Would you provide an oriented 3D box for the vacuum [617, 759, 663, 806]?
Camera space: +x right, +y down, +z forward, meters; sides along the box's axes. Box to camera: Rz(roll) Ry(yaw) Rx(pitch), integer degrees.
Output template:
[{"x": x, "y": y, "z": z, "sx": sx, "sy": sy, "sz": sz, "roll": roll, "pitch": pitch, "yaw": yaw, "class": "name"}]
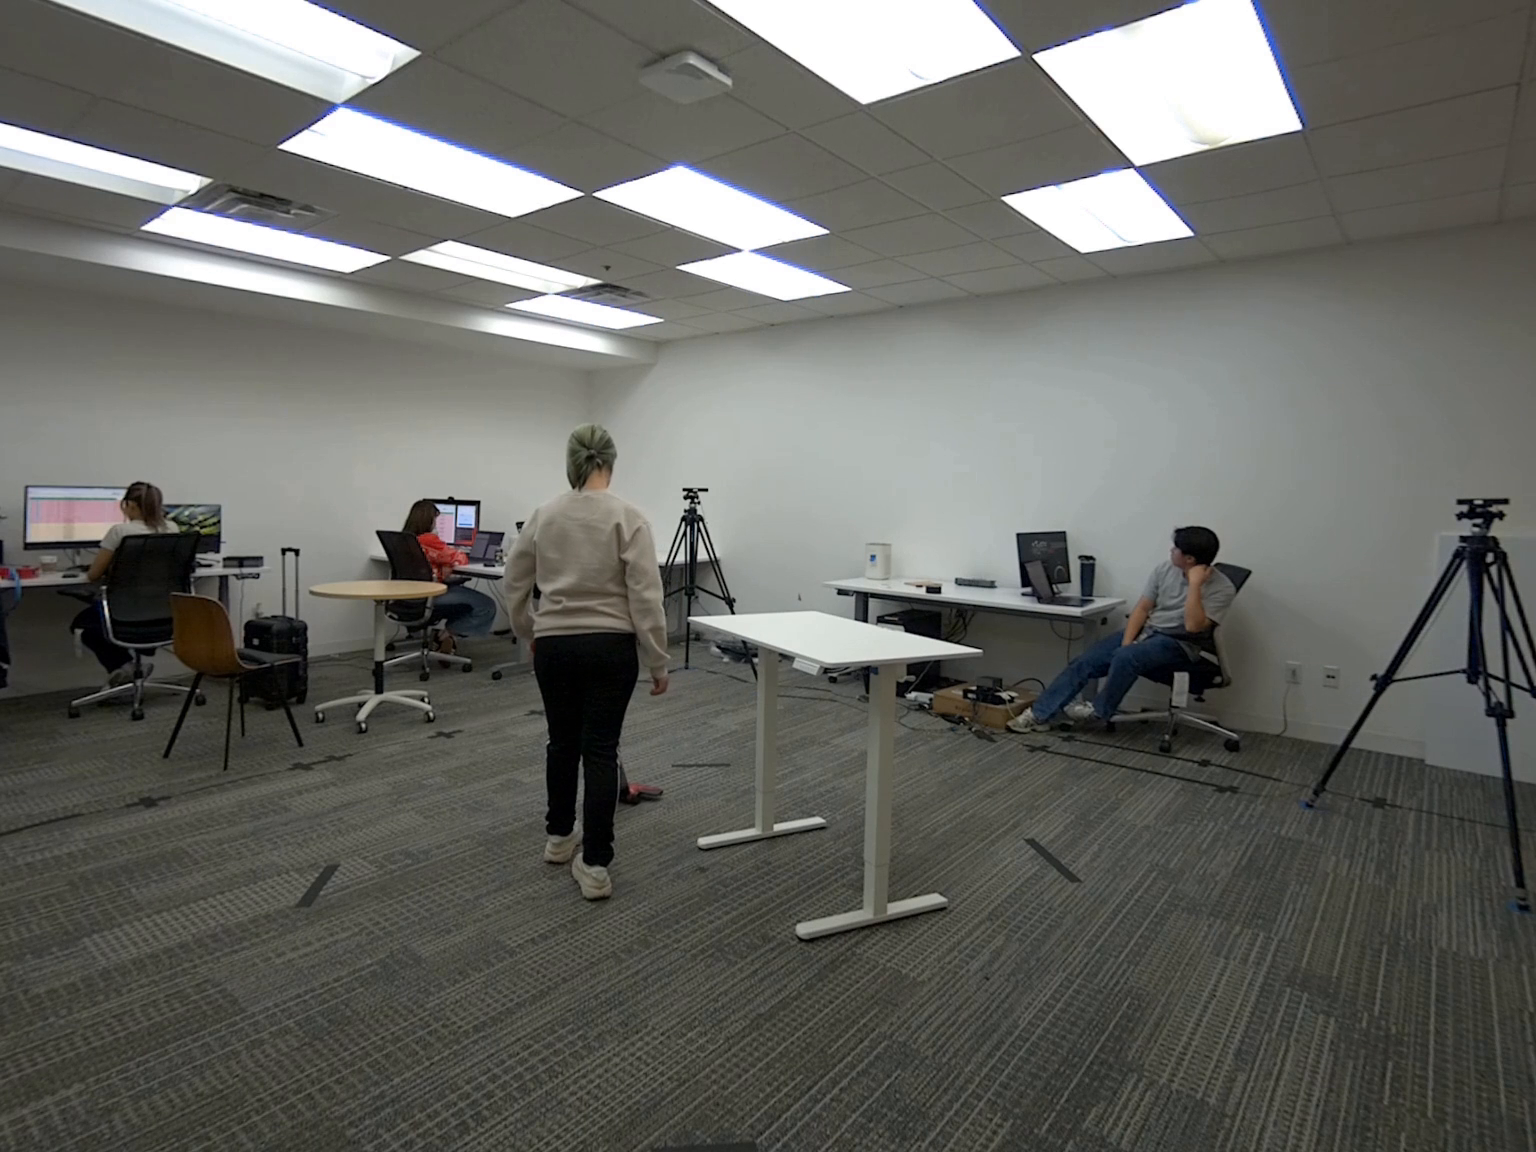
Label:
[{"x": -0.746, "y": 0.622, "z": 3.492, "sx": 0.258, "sy": 1.010, "sz": 0.146, "roll": 0, "pitch": 44, "yaw": 21, "class": "vacuum"}]
